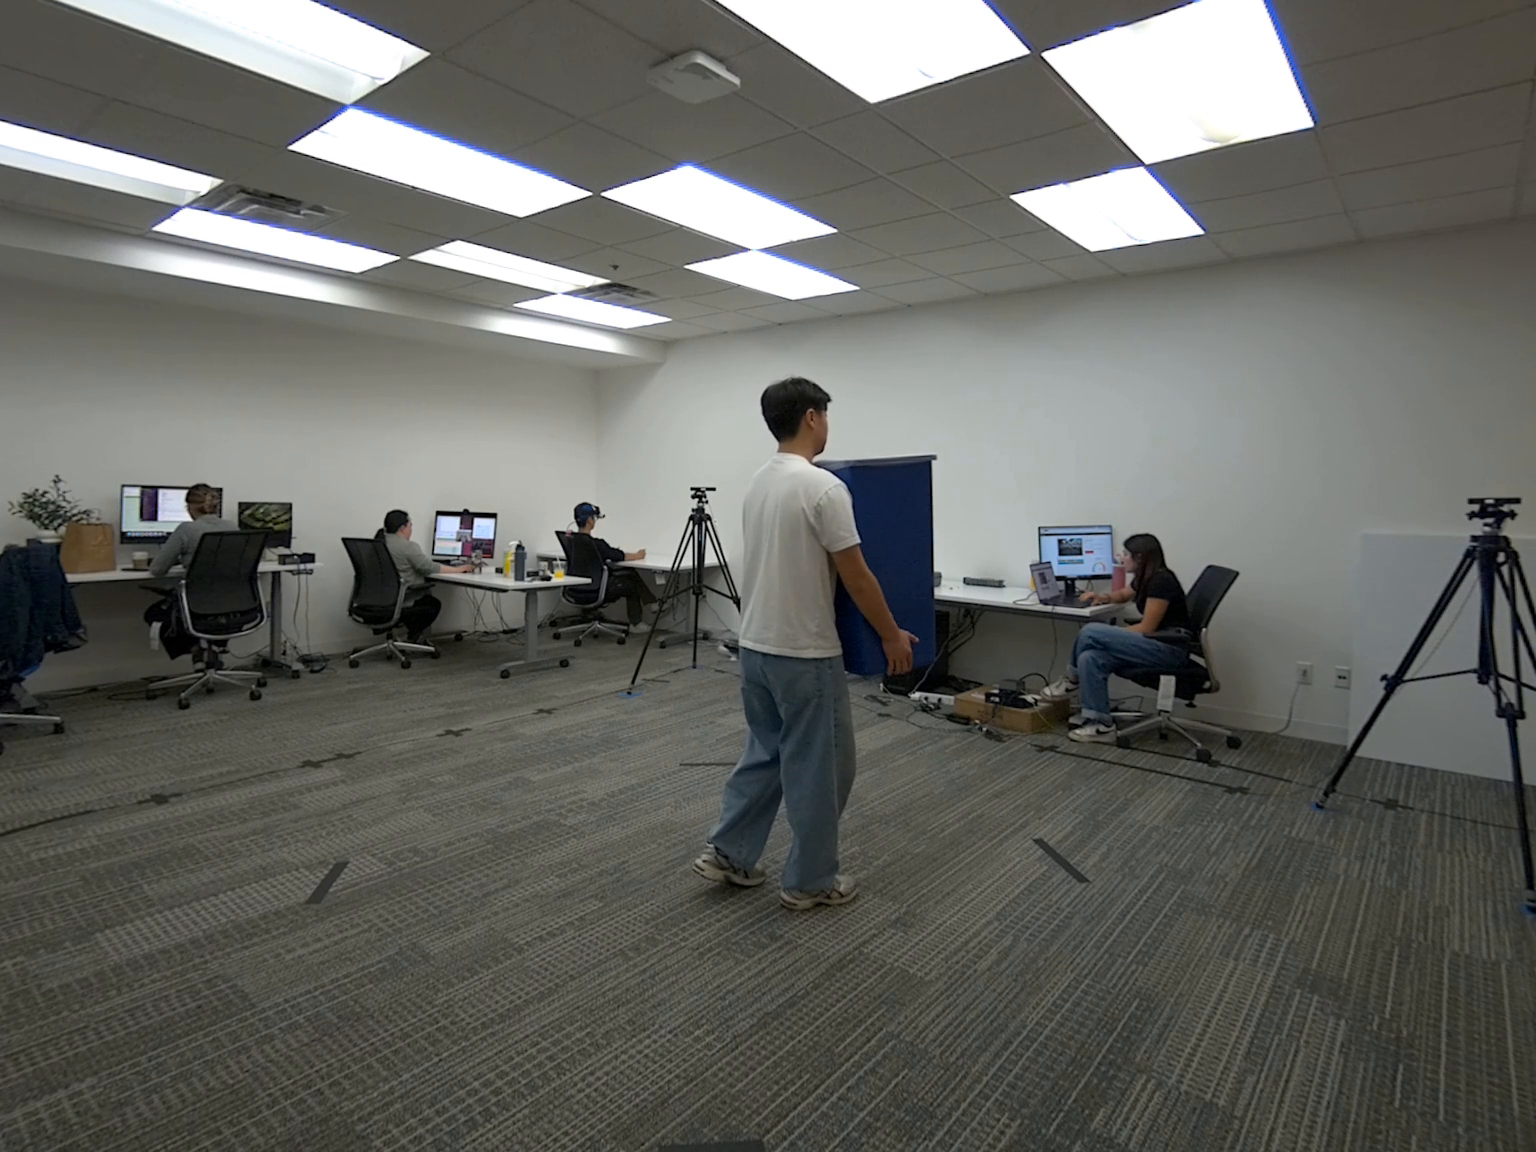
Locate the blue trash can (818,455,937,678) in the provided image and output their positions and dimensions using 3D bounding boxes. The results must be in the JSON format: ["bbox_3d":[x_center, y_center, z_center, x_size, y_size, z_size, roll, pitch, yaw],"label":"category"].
[{"bbox_3d":[0.348,-0.057,2.948,0.370,0.710,0.384,-6,5,-25],"label":"blue trash can"}]
